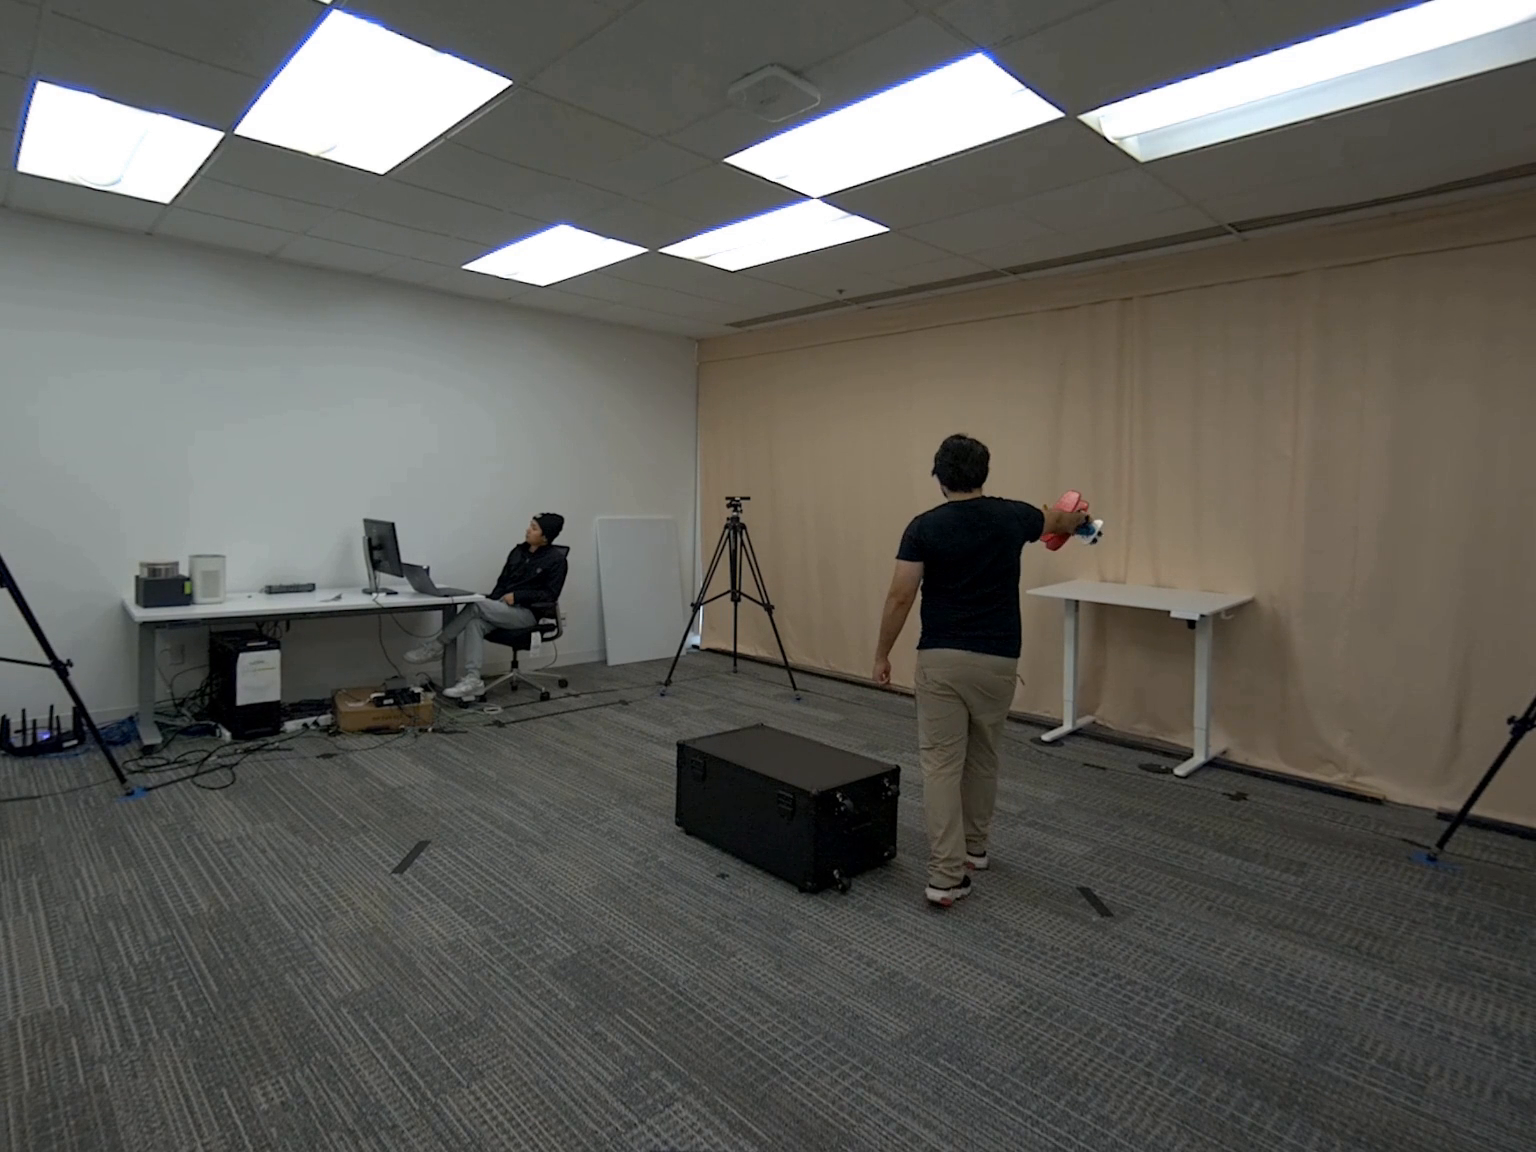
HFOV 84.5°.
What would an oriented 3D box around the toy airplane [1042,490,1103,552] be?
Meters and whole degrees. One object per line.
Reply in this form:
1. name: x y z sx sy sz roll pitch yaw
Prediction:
1. toy airplane: 1.286 -0.231 3.536 0.153 0.253 0.262 35 -30 -21
